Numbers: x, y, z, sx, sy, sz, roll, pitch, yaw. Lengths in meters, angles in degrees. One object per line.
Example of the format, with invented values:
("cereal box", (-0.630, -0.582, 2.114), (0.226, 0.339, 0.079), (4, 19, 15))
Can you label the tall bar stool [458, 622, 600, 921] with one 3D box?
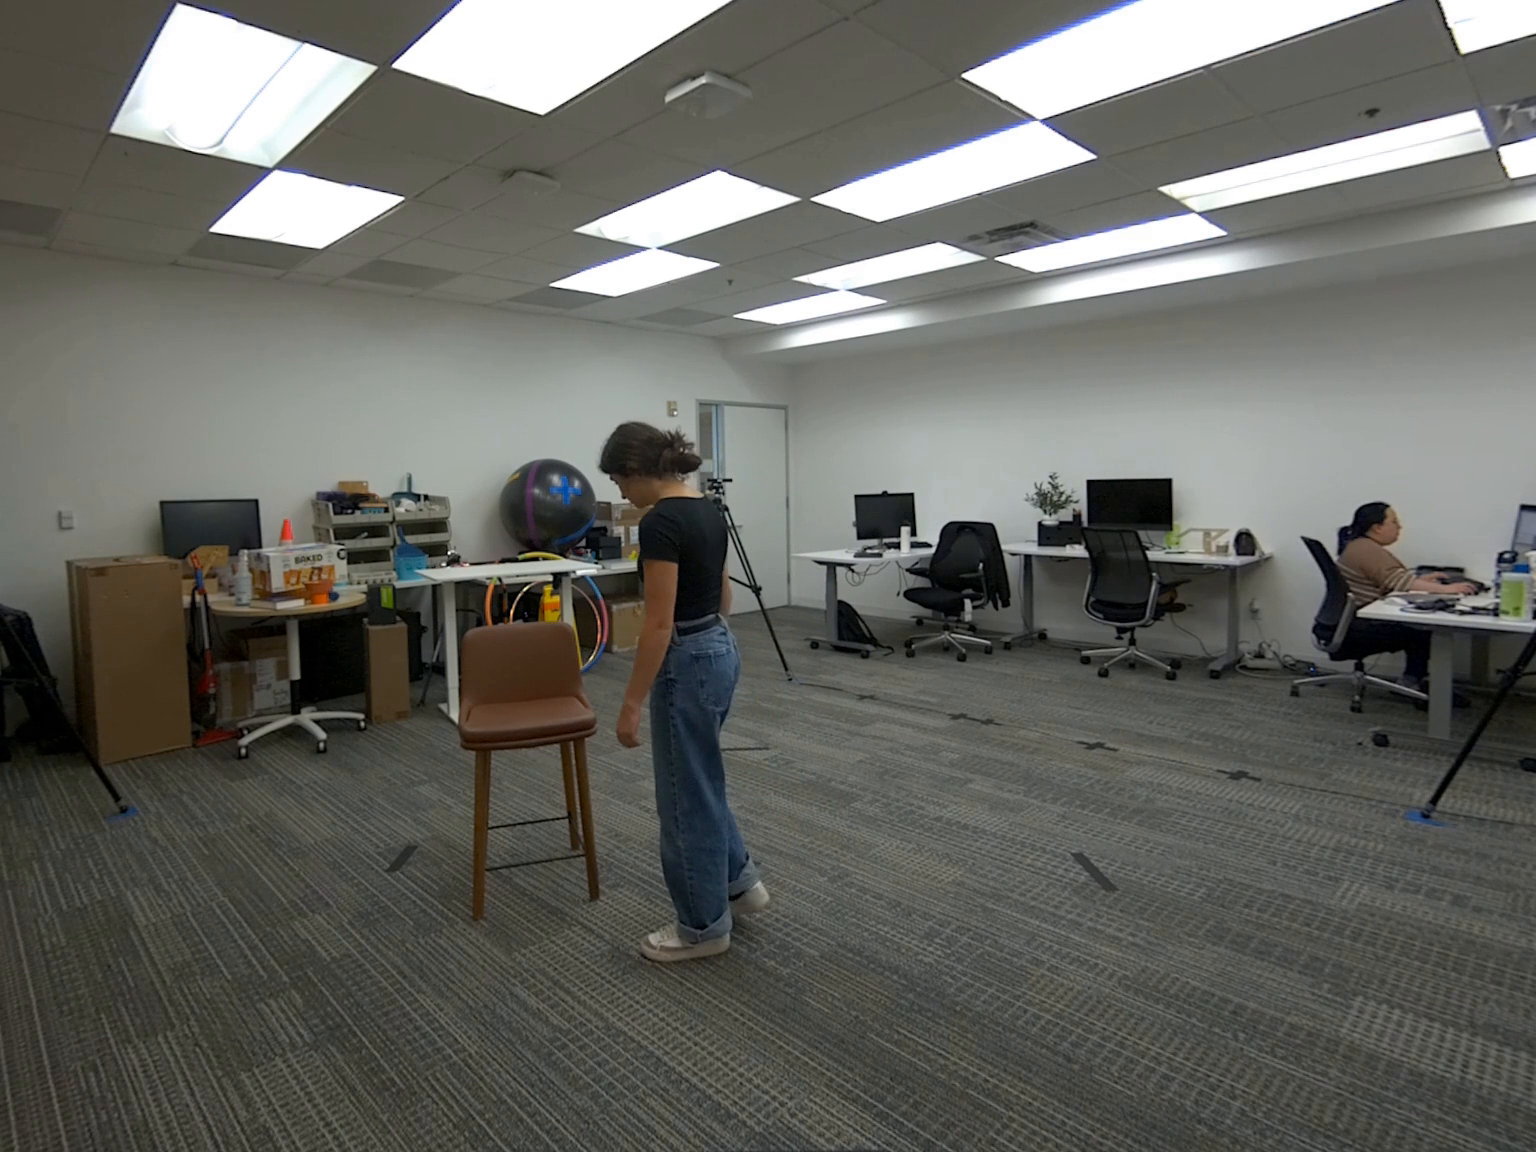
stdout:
("tall bar stool", (-0.839, 0.637, 2.993), (0.449, 0.888, 0.476), (-2, 2, -18))
